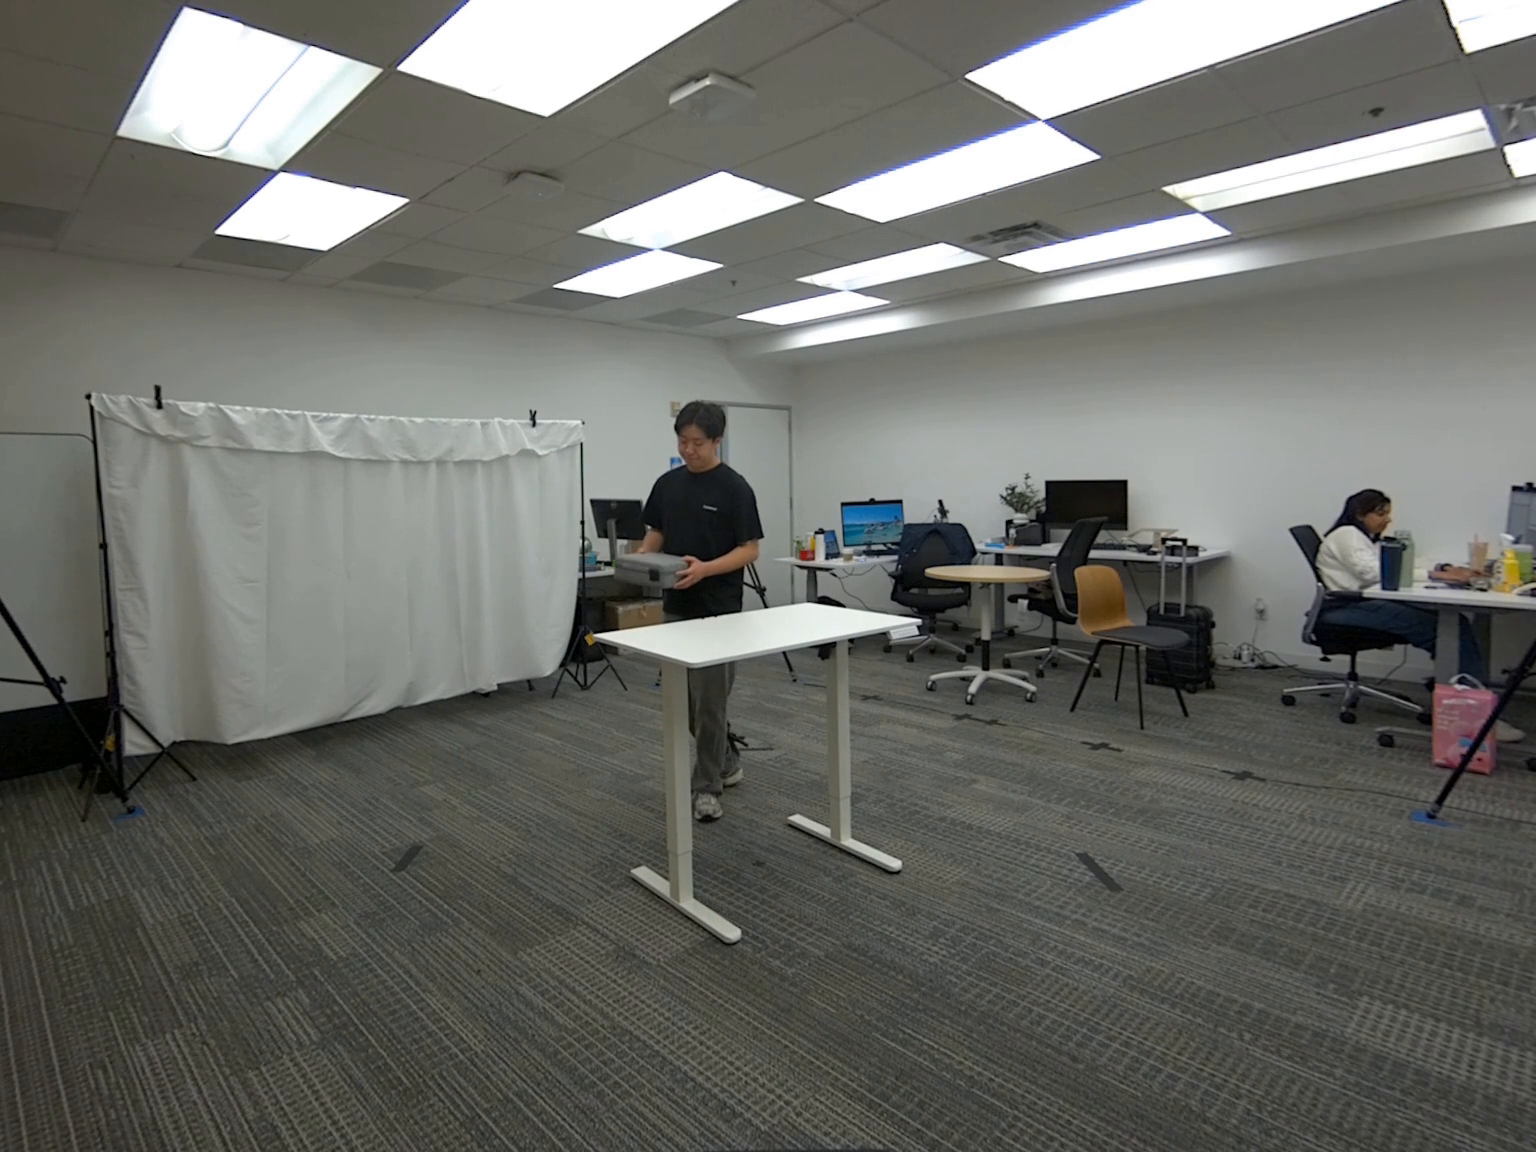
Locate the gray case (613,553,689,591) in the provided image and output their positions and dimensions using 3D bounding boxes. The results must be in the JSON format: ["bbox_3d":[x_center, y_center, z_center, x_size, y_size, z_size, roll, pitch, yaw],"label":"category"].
[{"bbox_3d":[-0.456,-0.018,3.434,0.272,0.102,0.279,12,12,41],"label":"gray case"}]
